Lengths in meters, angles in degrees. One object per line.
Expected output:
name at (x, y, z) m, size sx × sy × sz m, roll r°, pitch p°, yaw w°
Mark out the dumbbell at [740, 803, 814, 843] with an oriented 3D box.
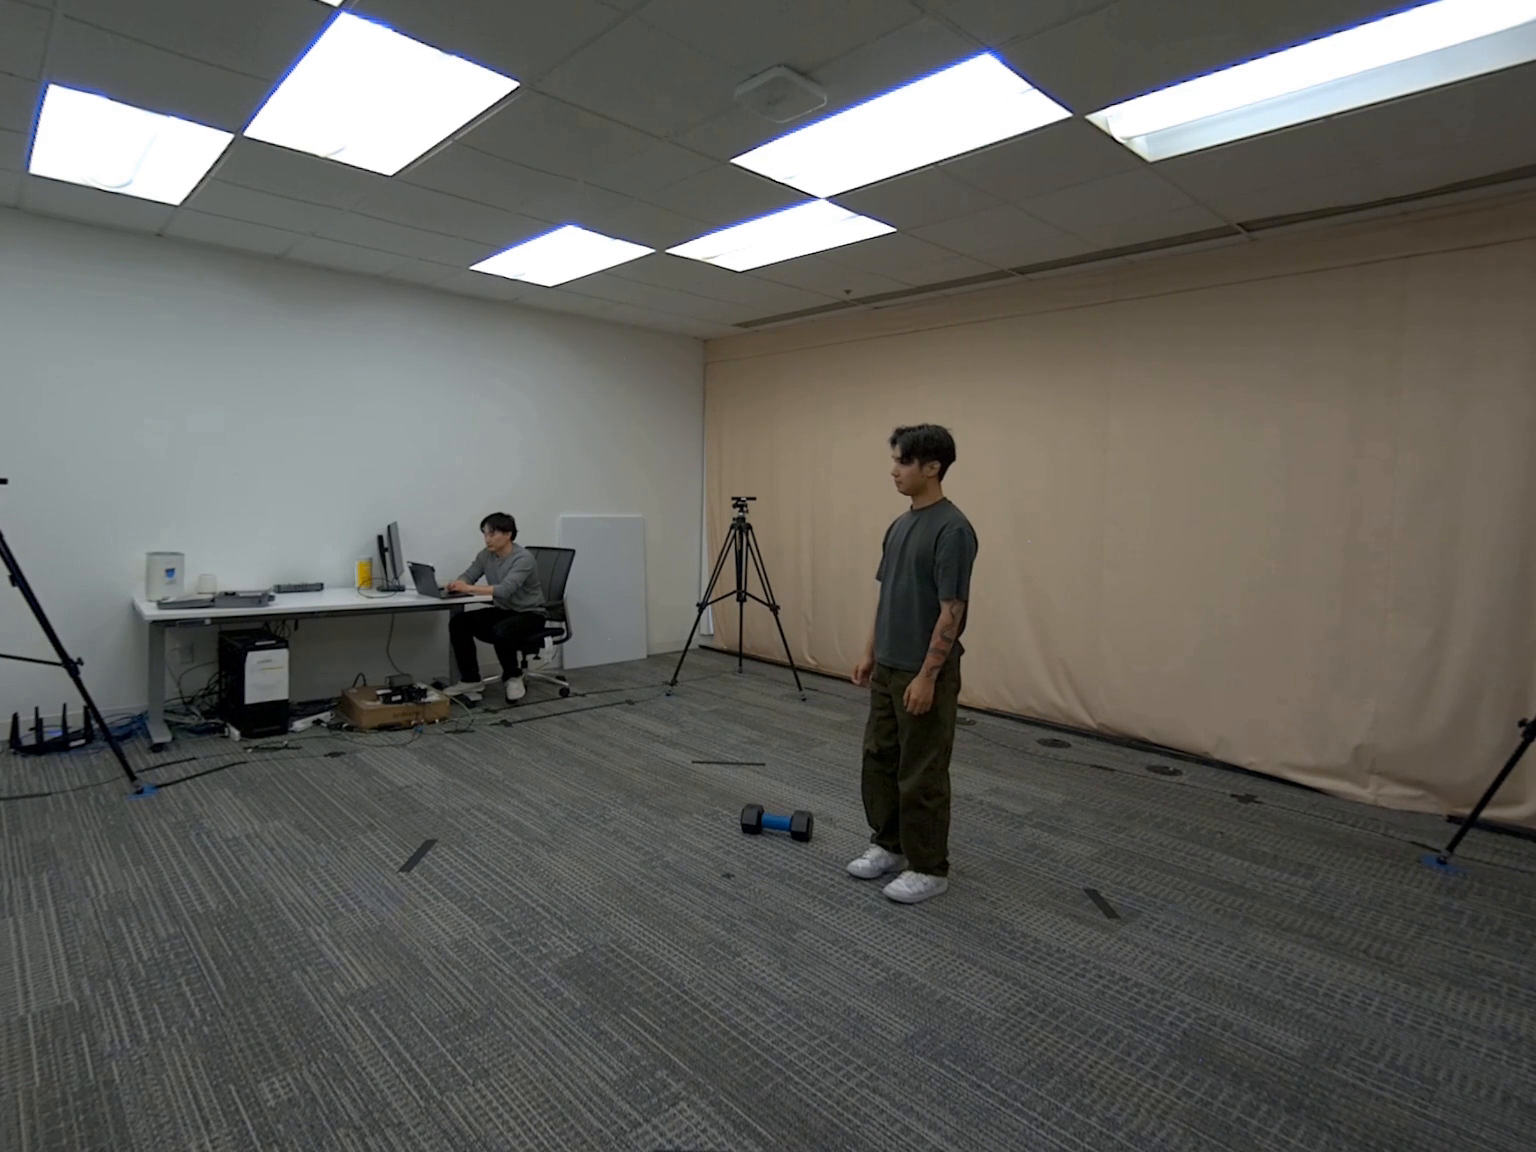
dumbbell at (0.028, 1.020, 3.494) m, size 0.298 × 0.108 × 0.121 m, roll 2°, pitch 5°, yaw 17°
